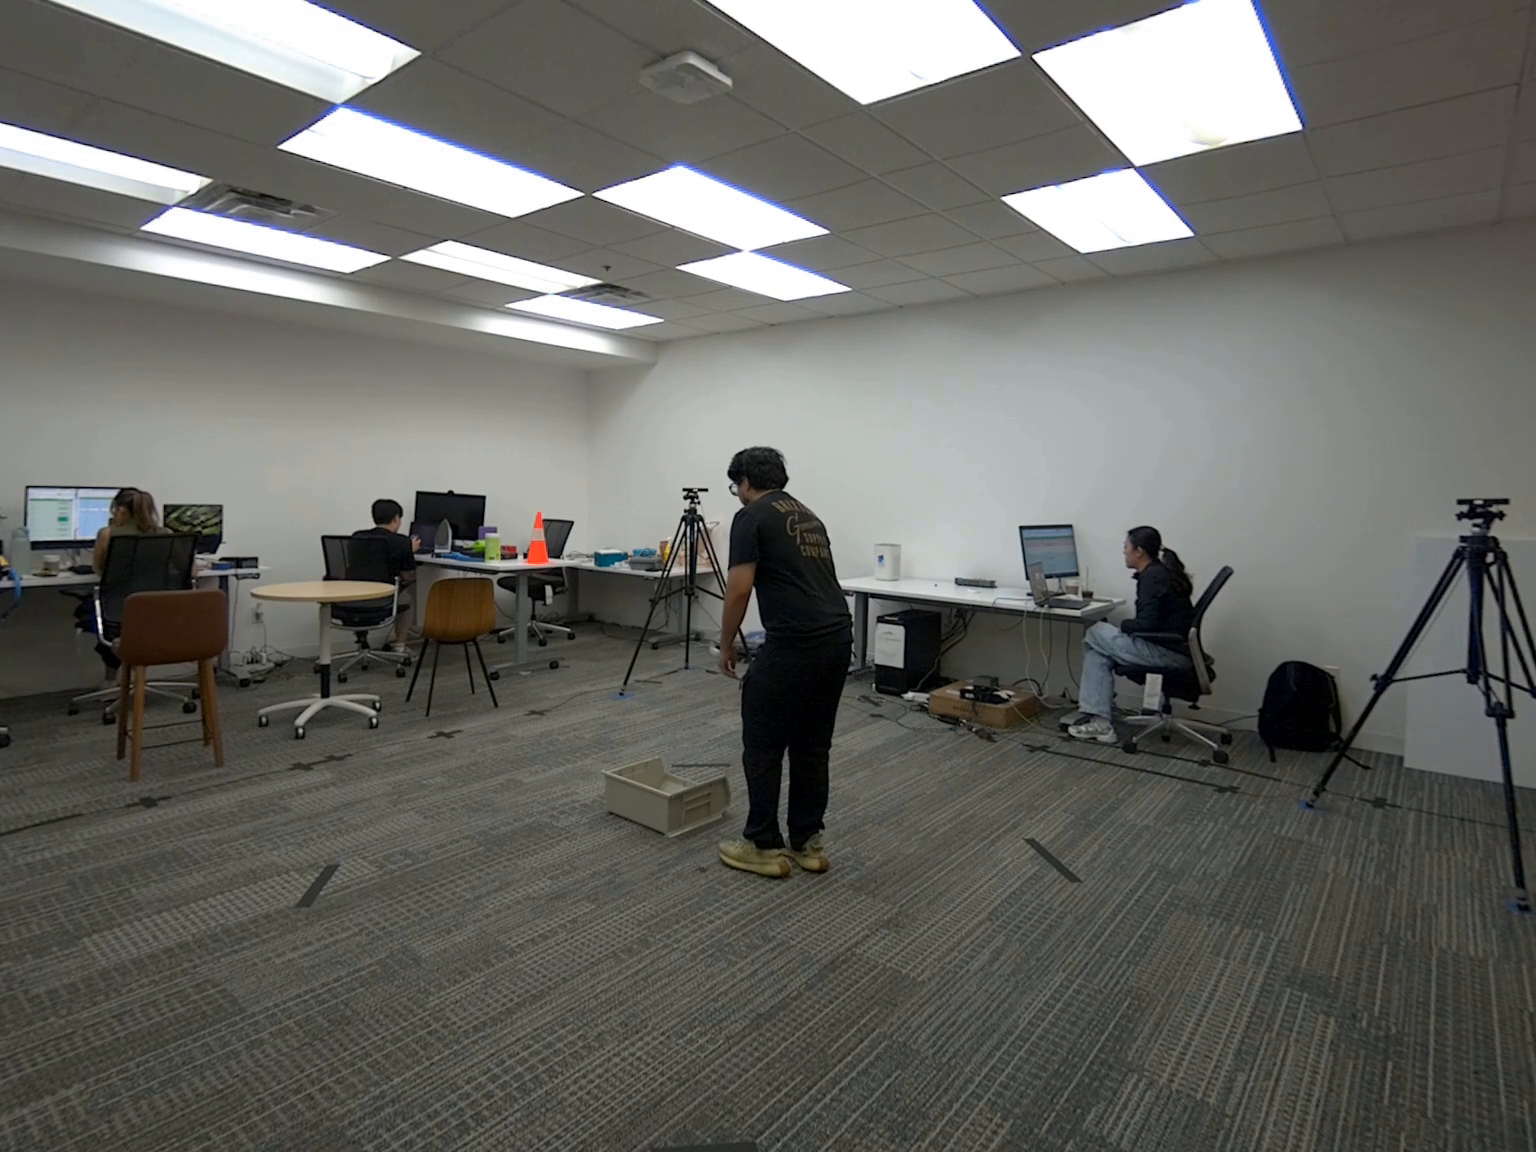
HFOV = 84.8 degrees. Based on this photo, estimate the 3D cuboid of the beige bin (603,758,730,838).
[{"bbox_3d":[-0.448,0.926,3.645,0.437,0.188,0.366,6,8,40],"label":"beige bin"}]
